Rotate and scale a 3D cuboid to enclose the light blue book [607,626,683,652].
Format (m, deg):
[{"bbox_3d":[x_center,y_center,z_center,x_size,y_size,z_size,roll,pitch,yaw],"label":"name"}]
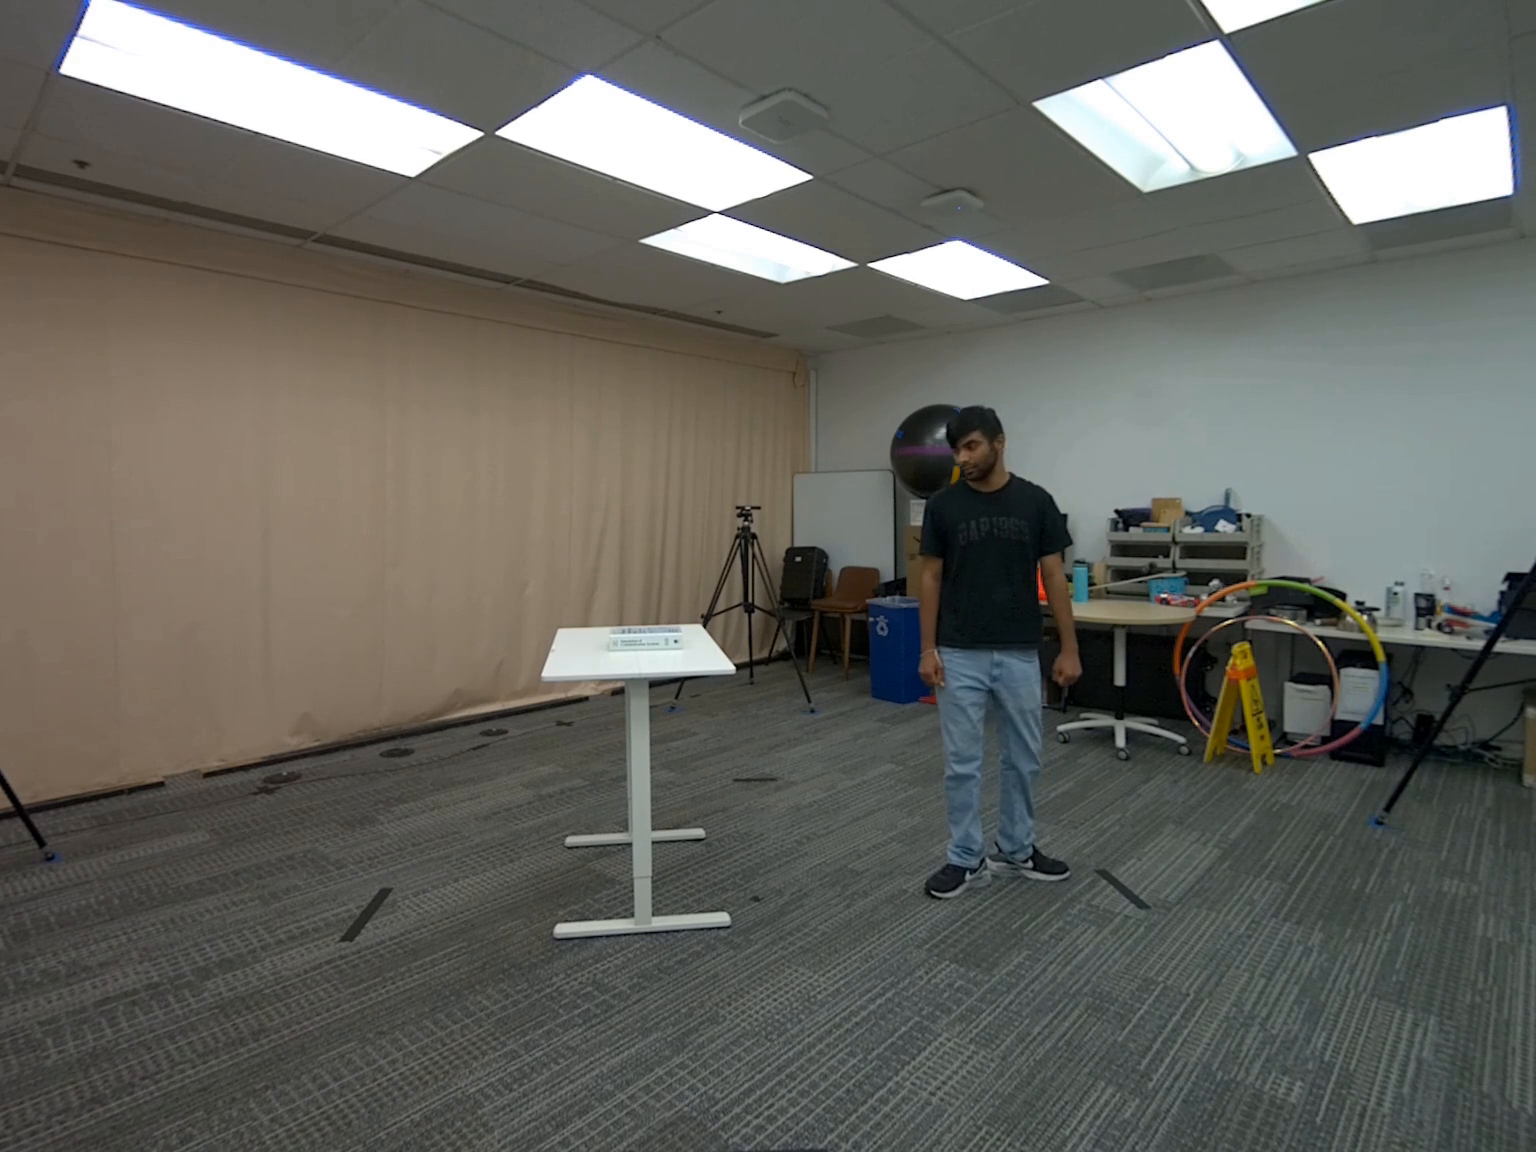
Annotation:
[{"bbox_3d":[-0.442,0.231,3.101,0.260,0.059,0.193,-2,4,-5],"label":"light blue book"}]
